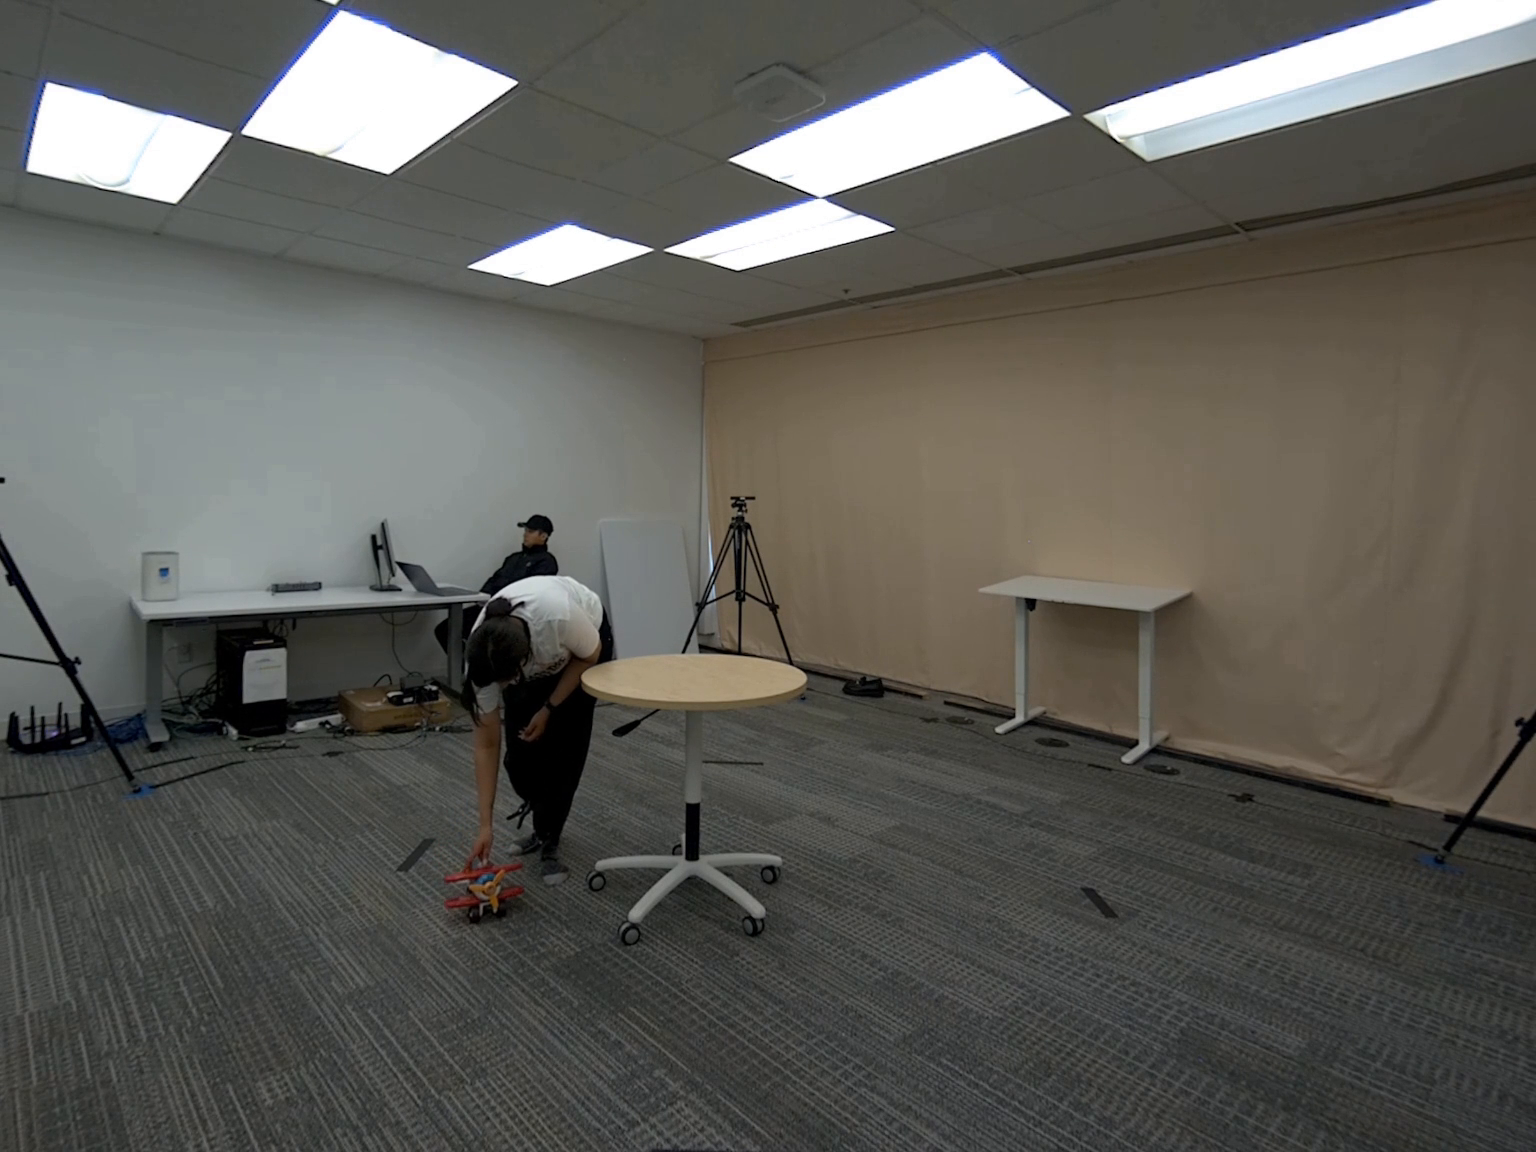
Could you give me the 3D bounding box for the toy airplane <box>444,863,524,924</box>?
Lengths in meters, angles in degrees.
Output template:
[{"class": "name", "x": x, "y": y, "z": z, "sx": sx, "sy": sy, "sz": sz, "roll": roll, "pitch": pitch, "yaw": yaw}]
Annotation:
[{"class": "toy airplane", "x": -0.991, "y": 1.045, "z": 2.802, "sx": 0.265, "sy": 0.156, "sz": 0.246, "roll": 6, "pitch": 7, "yaw": 32}]
